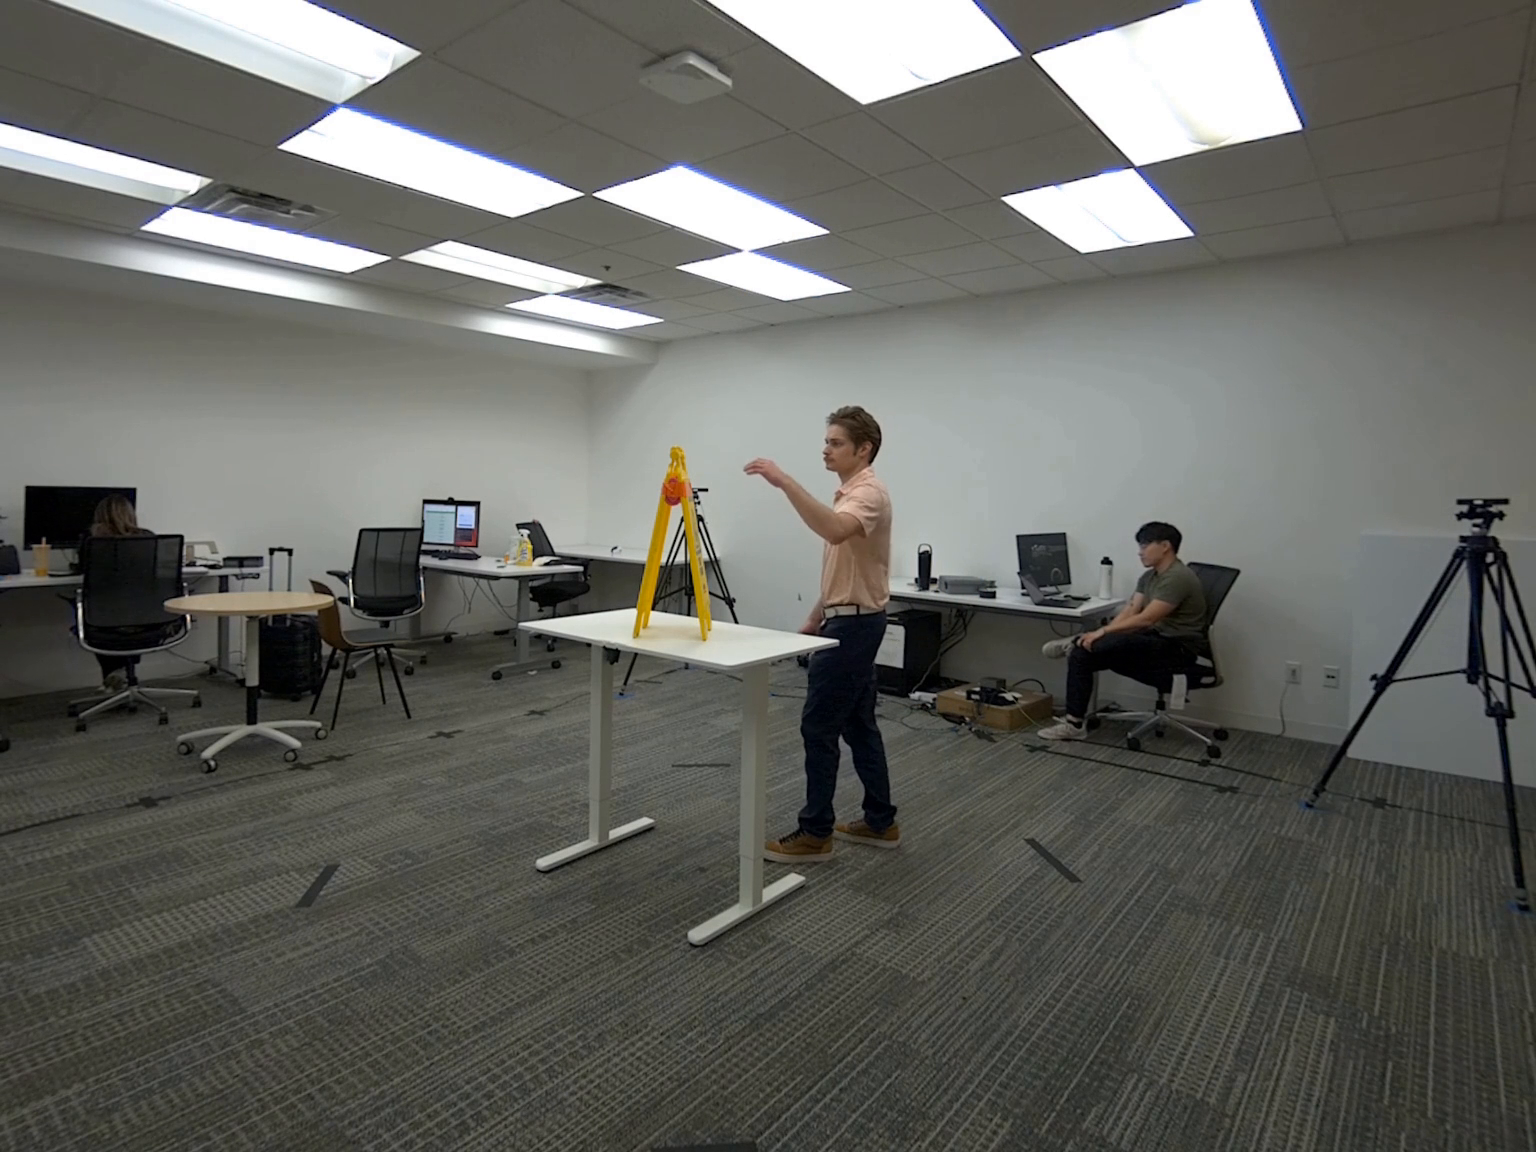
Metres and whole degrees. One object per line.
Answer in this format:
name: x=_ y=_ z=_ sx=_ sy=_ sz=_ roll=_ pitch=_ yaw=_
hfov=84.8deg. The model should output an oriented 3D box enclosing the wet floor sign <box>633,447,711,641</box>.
wet floor sign: x=-0.331 y=-0.126 z=2.966 sx=0.290 sy=0.644 sz=0.283 roll=2 pitch=4 yaw=0
